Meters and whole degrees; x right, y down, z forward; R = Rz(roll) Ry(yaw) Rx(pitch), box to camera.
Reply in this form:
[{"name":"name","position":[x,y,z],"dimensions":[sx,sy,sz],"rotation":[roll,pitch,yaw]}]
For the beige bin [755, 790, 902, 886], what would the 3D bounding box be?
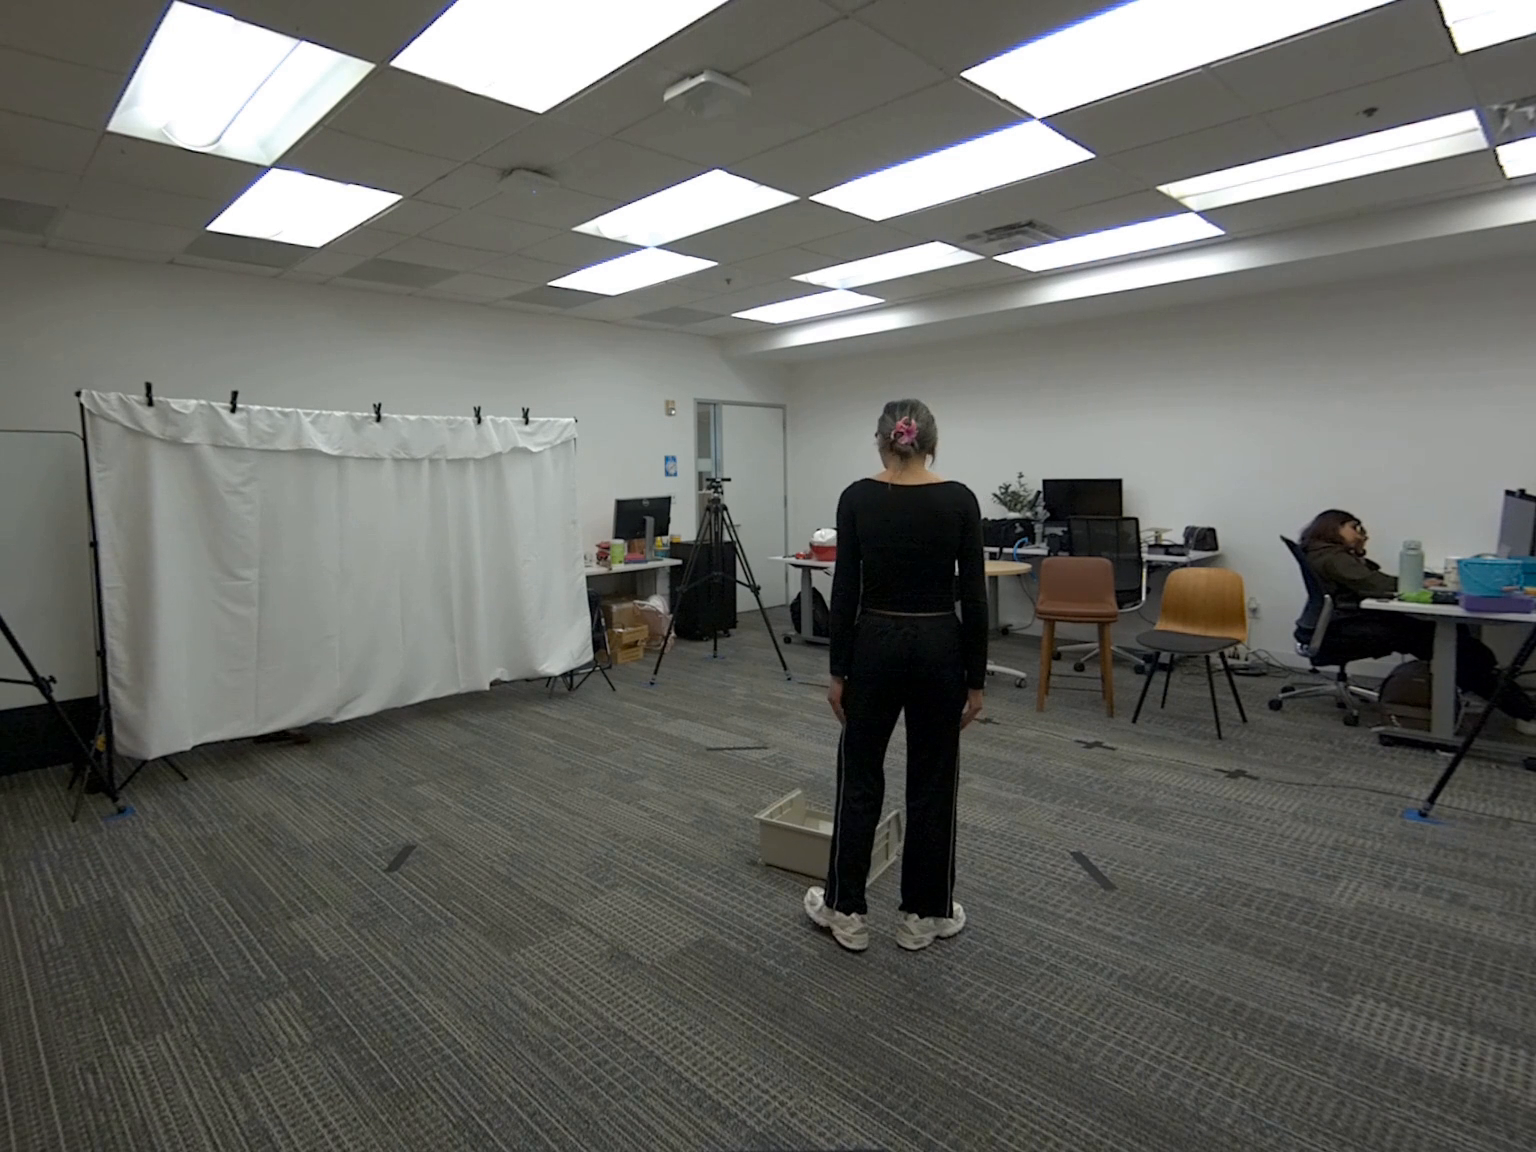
[{"name":"beige bin","position":[0.226,0.949,3.122],"dimensions":[0.434,0.188,0.369],"rotation":[4,8,32]}]
